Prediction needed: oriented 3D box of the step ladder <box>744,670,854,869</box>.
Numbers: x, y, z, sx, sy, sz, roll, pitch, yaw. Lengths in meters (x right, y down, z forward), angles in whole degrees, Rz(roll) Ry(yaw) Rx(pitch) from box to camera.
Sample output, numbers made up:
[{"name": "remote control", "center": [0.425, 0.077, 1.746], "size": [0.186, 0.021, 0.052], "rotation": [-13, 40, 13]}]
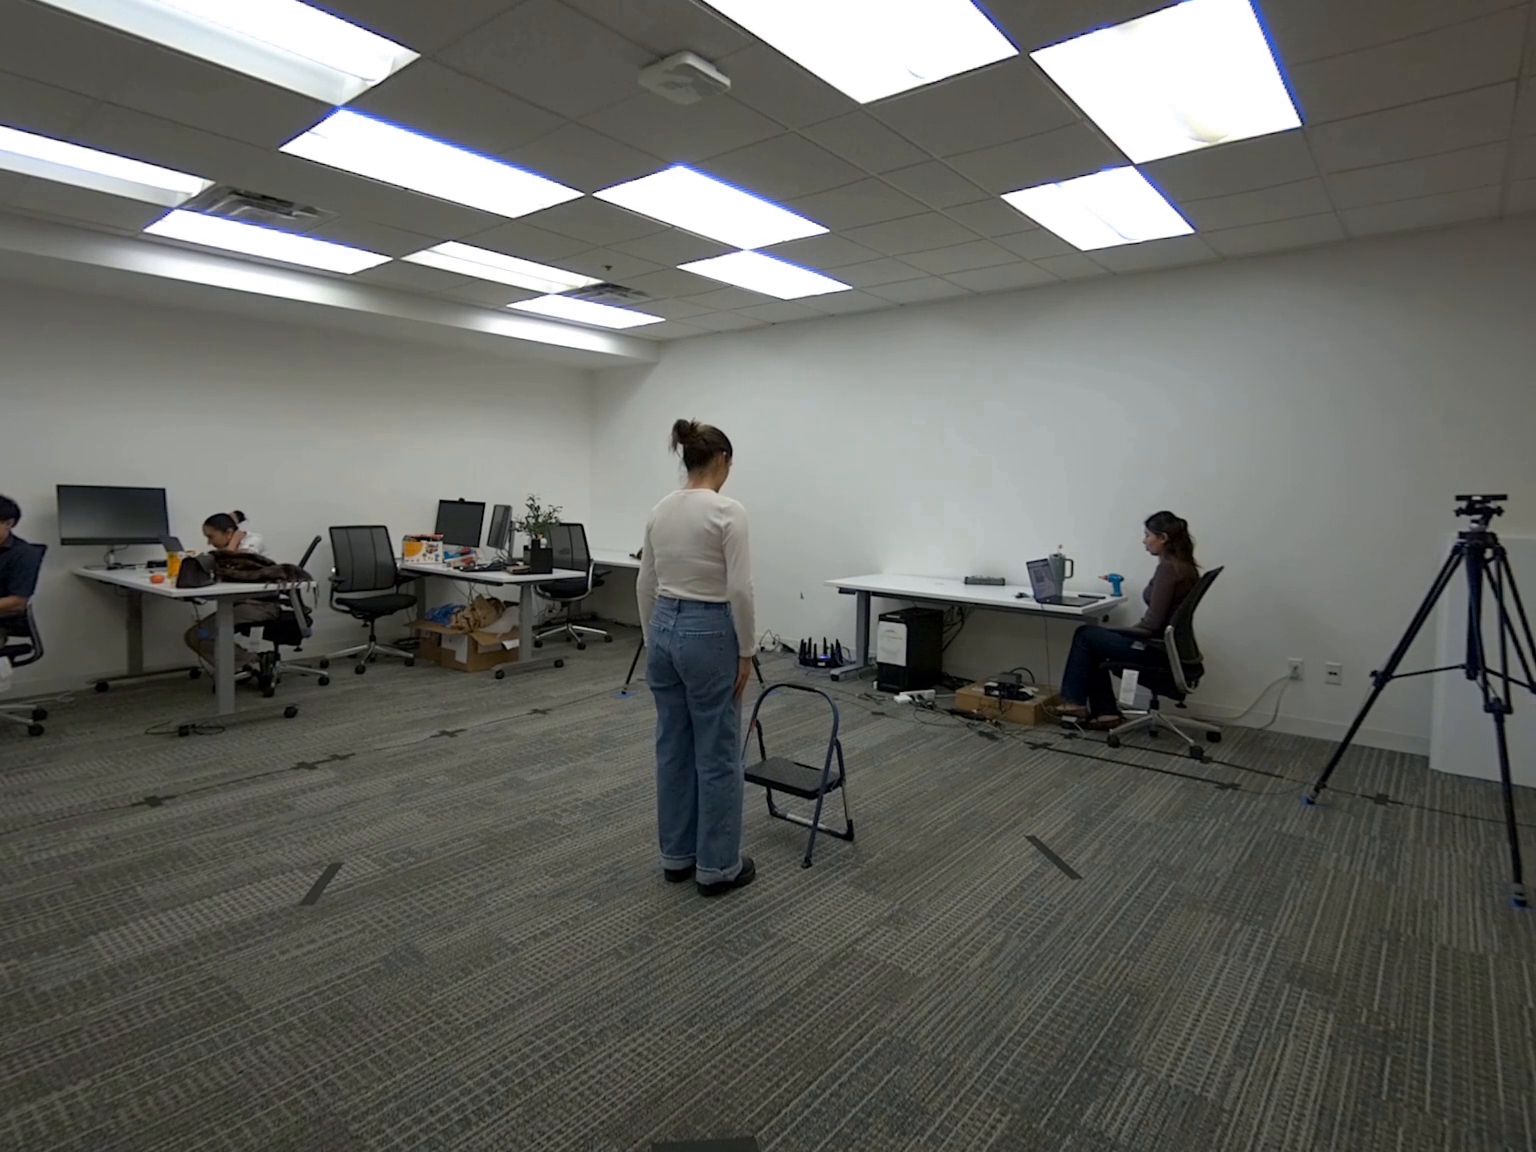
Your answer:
[{"name": "step ladder", "center": [0.076, 0.739, 3.372], "size": [0.445, 0.604, 0.339], "rotation": [4, 5, 38]}]
